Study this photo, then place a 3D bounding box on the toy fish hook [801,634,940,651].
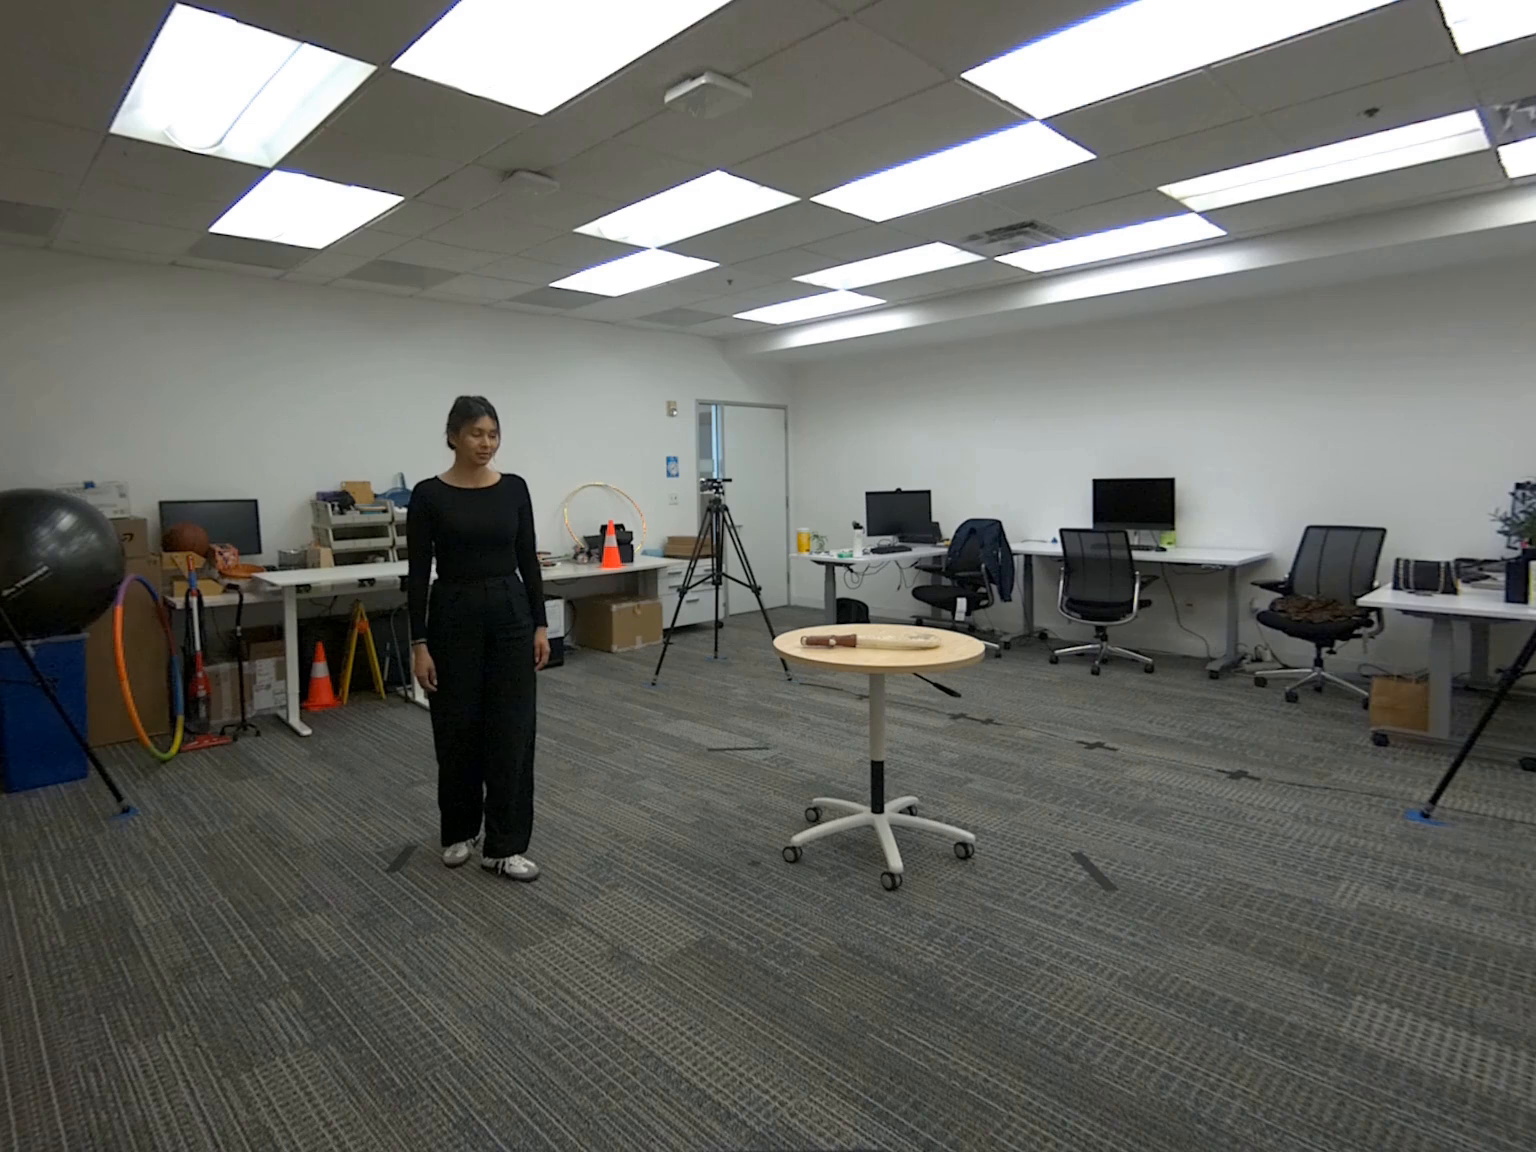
[{"bbox_3d":[0.374,0.237,3.127,0.508,0.048,0.223,0,0,3],"label":"toy fish hook"}]
